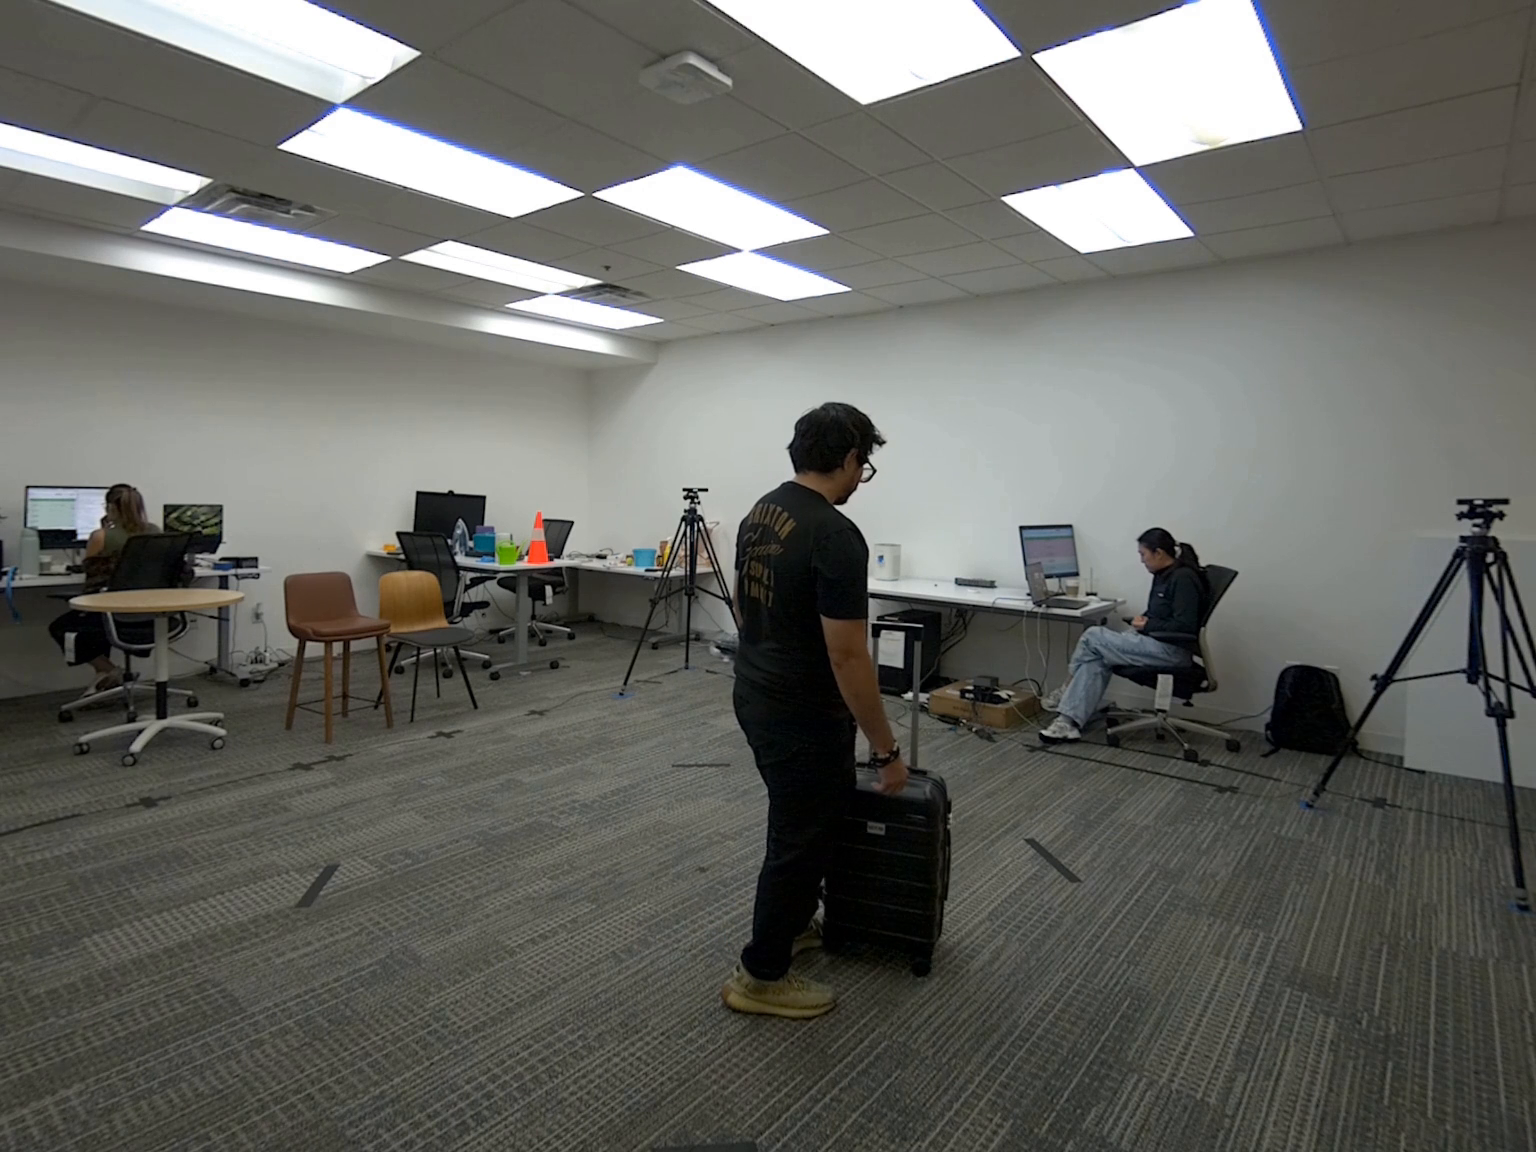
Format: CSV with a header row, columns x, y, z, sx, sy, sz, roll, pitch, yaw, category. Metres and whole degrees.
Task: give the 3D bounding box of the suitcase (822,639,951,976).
x,y,z,sx,sy,sz,roll,pitch,yaw,category
0.361,0.653,2.587,0.391,0.974,0.253,2,5,17,suitcase
